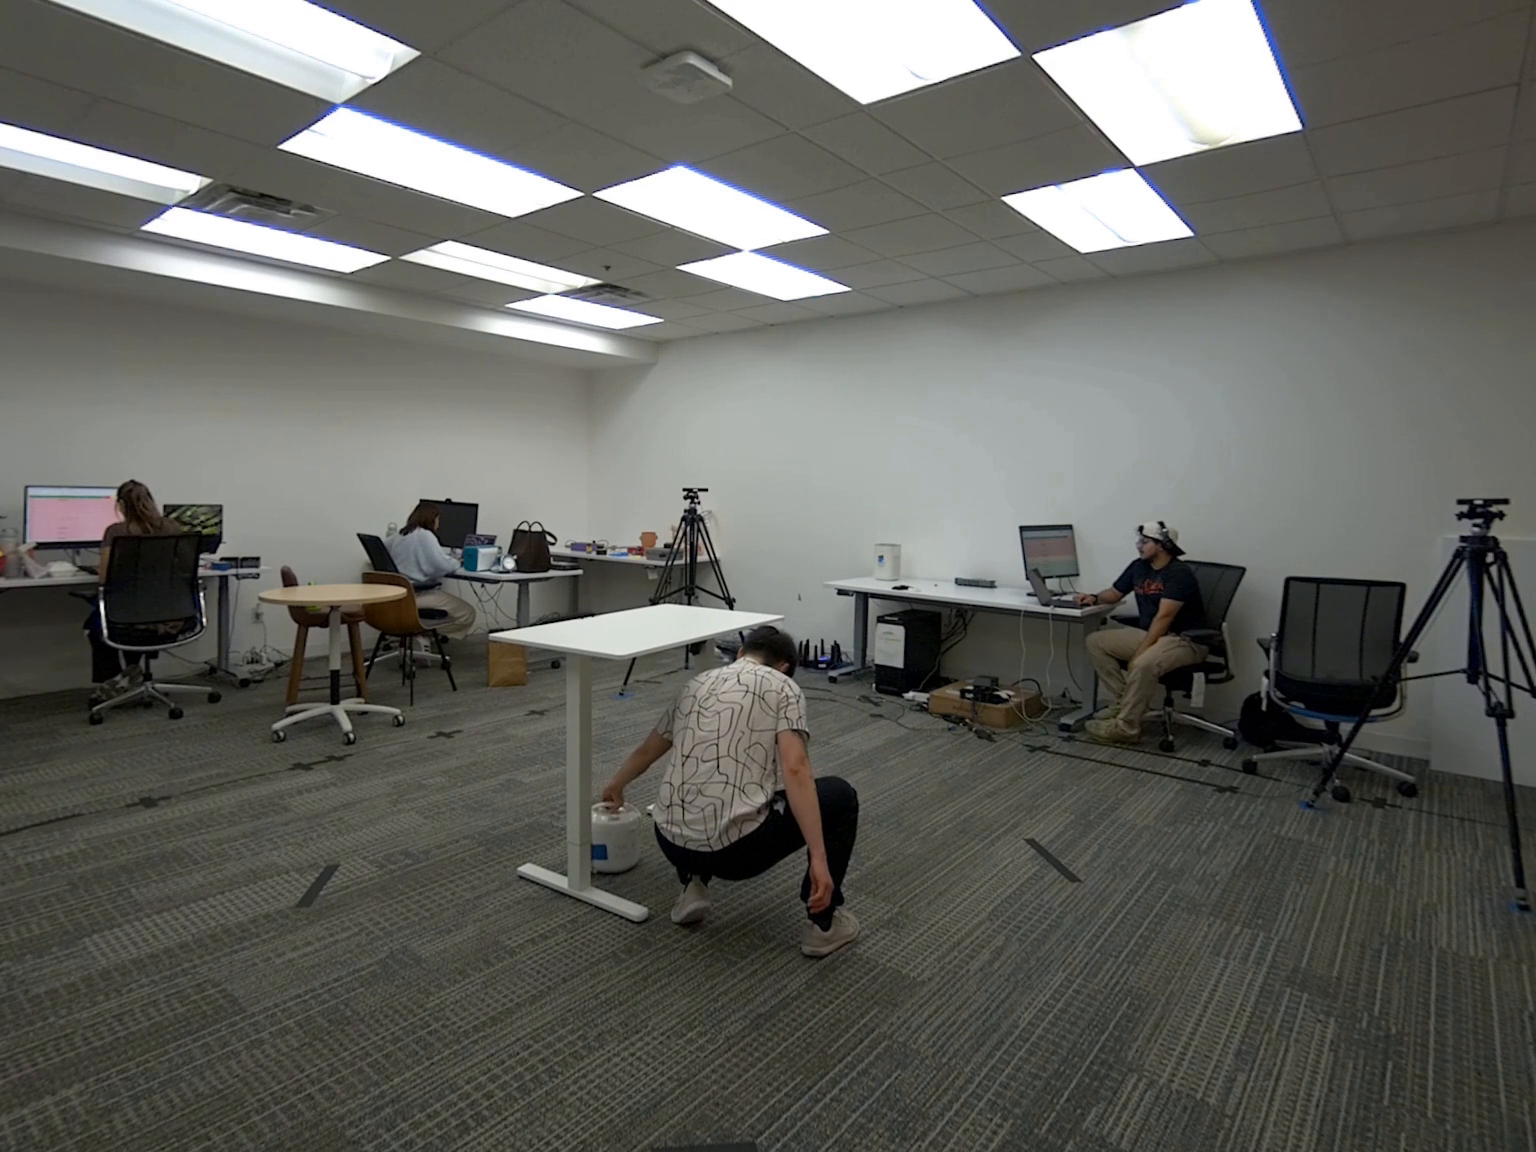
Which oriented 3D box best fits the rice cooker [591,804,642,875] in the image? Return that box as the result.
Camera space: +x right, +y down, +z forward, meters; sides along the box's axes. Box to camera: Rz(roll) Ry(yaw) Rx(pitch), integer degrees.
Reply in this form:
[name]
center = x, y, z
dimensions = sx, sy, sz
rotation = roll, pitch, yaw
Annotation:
[rice cooker]
center = -0.584, 0.944, 3.137
dimensions = 0.221, 0.232, 0.218
rotation = 1, 4, 0
